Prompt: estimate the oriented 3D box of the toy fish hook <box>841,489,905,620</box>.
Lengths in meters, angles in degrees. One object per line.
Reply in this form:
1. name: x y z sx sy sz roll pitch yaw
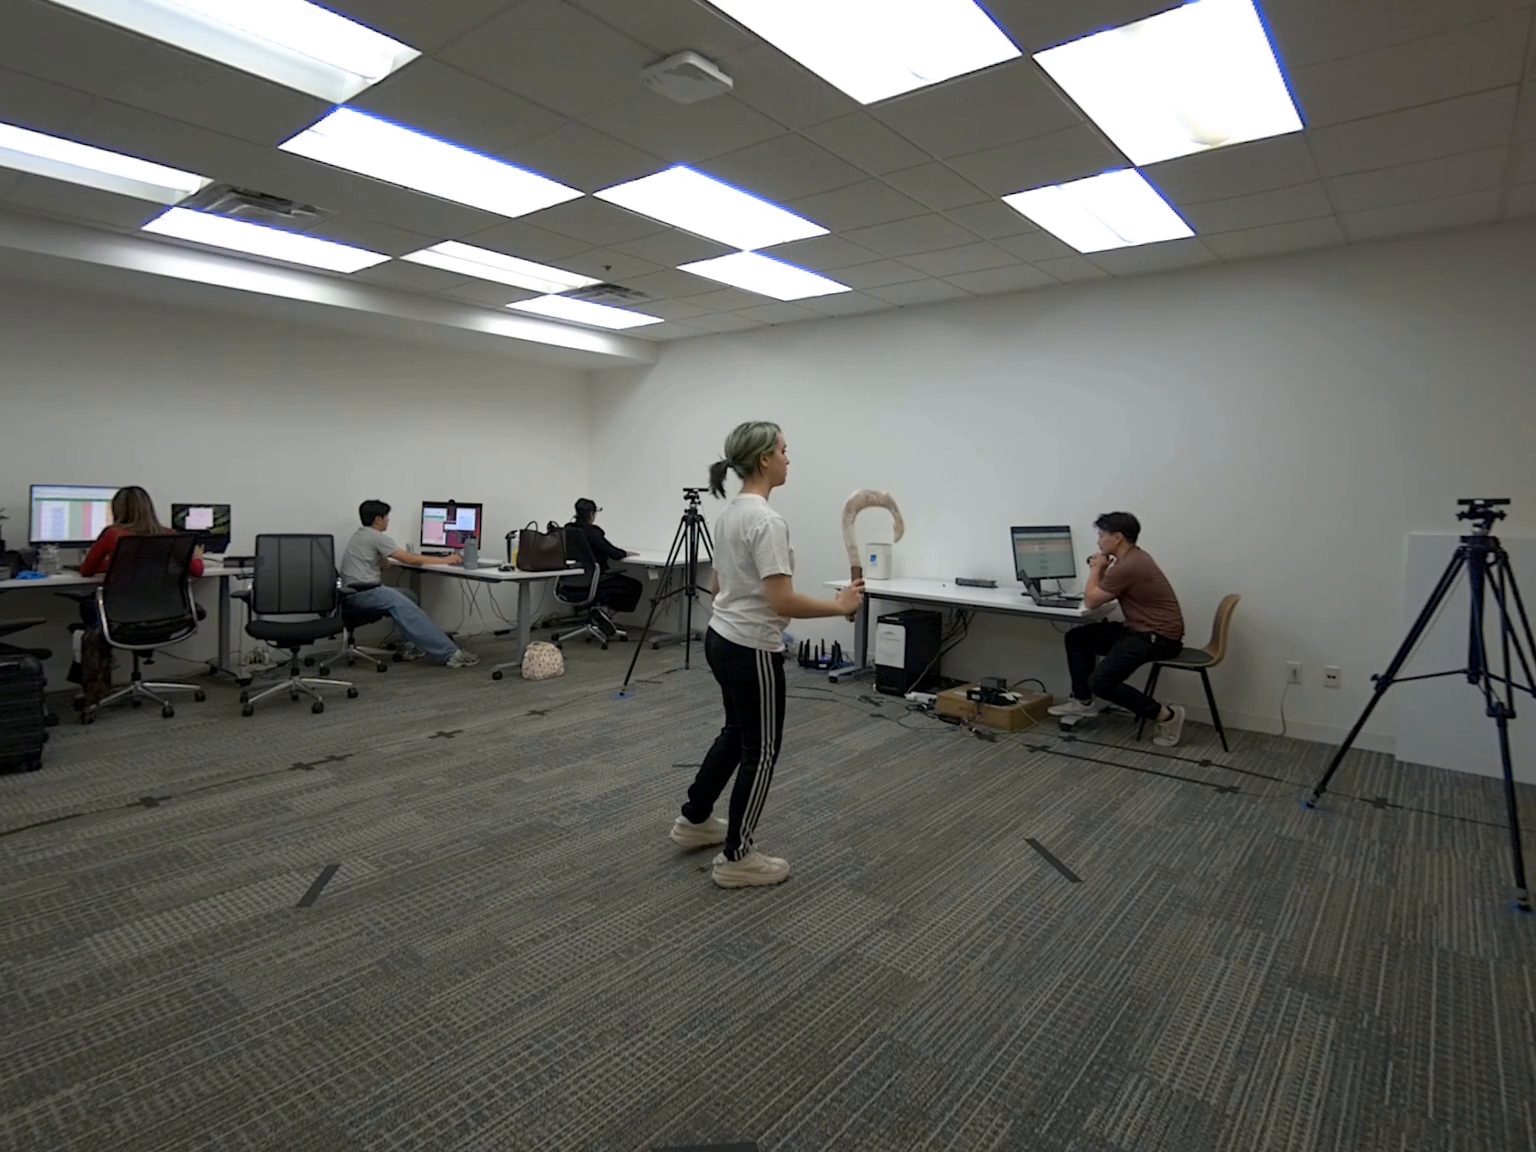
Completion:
1. toy fish hook: 0.349 -0.075 3.010 0.225 0.514 0.047 6 -18 3
